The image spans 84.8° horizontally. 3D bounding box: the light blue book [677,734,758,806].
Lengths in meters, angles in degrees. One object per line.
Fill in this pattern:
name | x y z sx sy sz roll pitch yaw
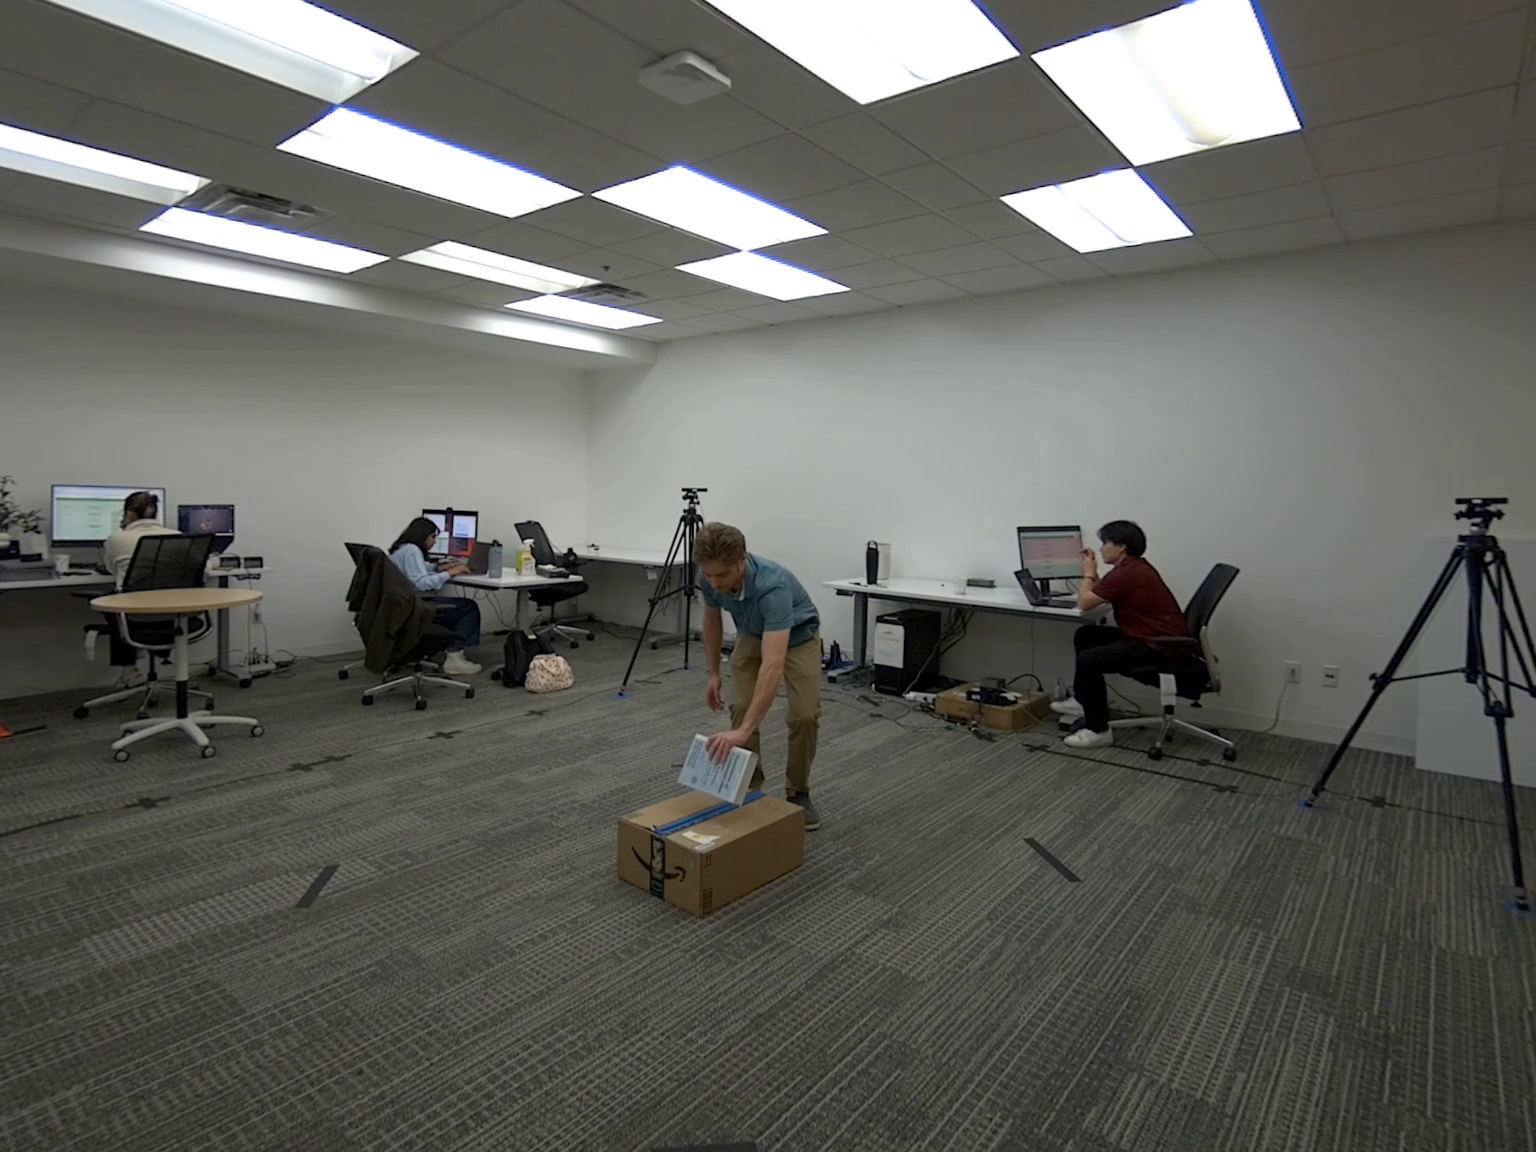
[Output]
light blue book | -0.188 0.702 3.096 0.270 0.193 0.056 10 -20 36
